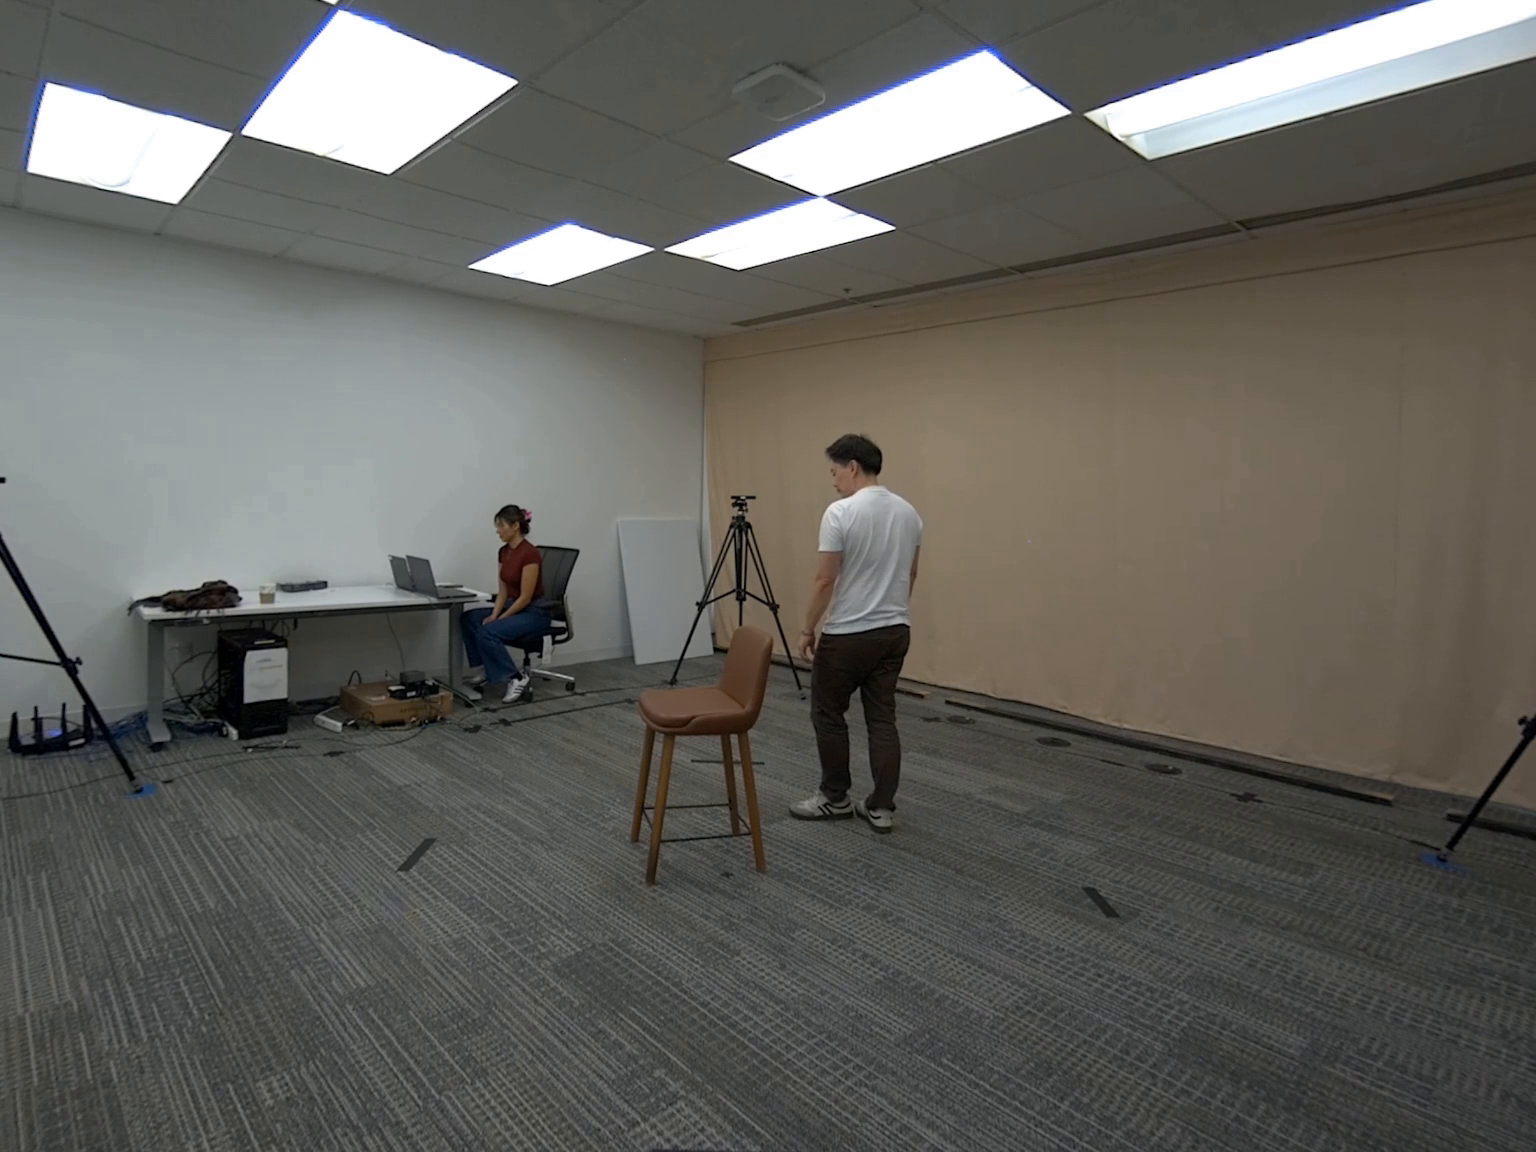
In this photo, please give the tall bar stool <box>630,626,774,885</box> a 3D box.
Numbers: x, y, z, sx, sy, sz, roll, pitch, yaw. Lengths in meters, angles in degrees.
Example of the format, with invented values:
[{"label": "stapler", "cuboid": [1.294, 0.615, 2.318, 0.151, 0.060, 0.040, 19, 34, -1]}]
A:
[{"label": "tall bar stool", "cuboid": [-0.268, 0.652, 3.233, 0.461, 0.888, 0.464, 2, 3, -18]}]
